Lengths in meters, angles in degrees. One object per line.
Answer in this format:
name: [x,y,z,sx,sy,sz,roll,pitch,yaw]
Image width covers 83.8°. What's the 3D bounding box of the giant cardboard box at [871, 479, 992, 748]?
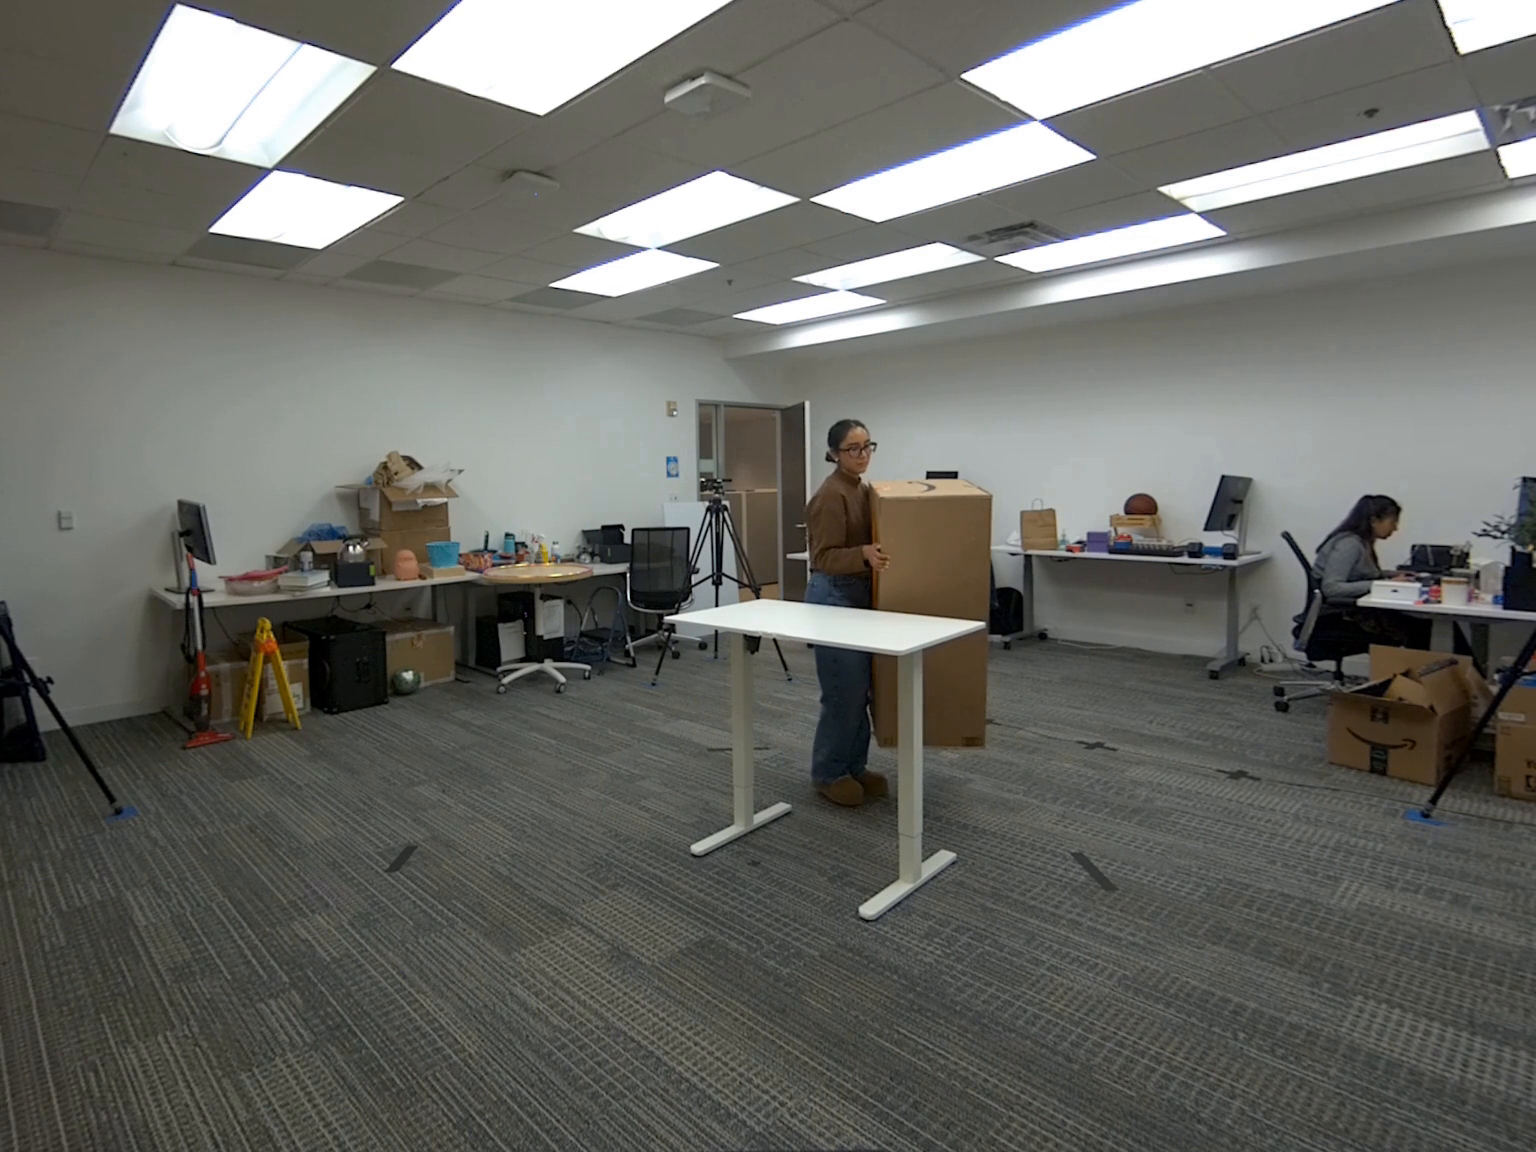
giant cardboard box: [0.670,0.133,3.609,0.428,1.016,0.580,-1,10,4]
